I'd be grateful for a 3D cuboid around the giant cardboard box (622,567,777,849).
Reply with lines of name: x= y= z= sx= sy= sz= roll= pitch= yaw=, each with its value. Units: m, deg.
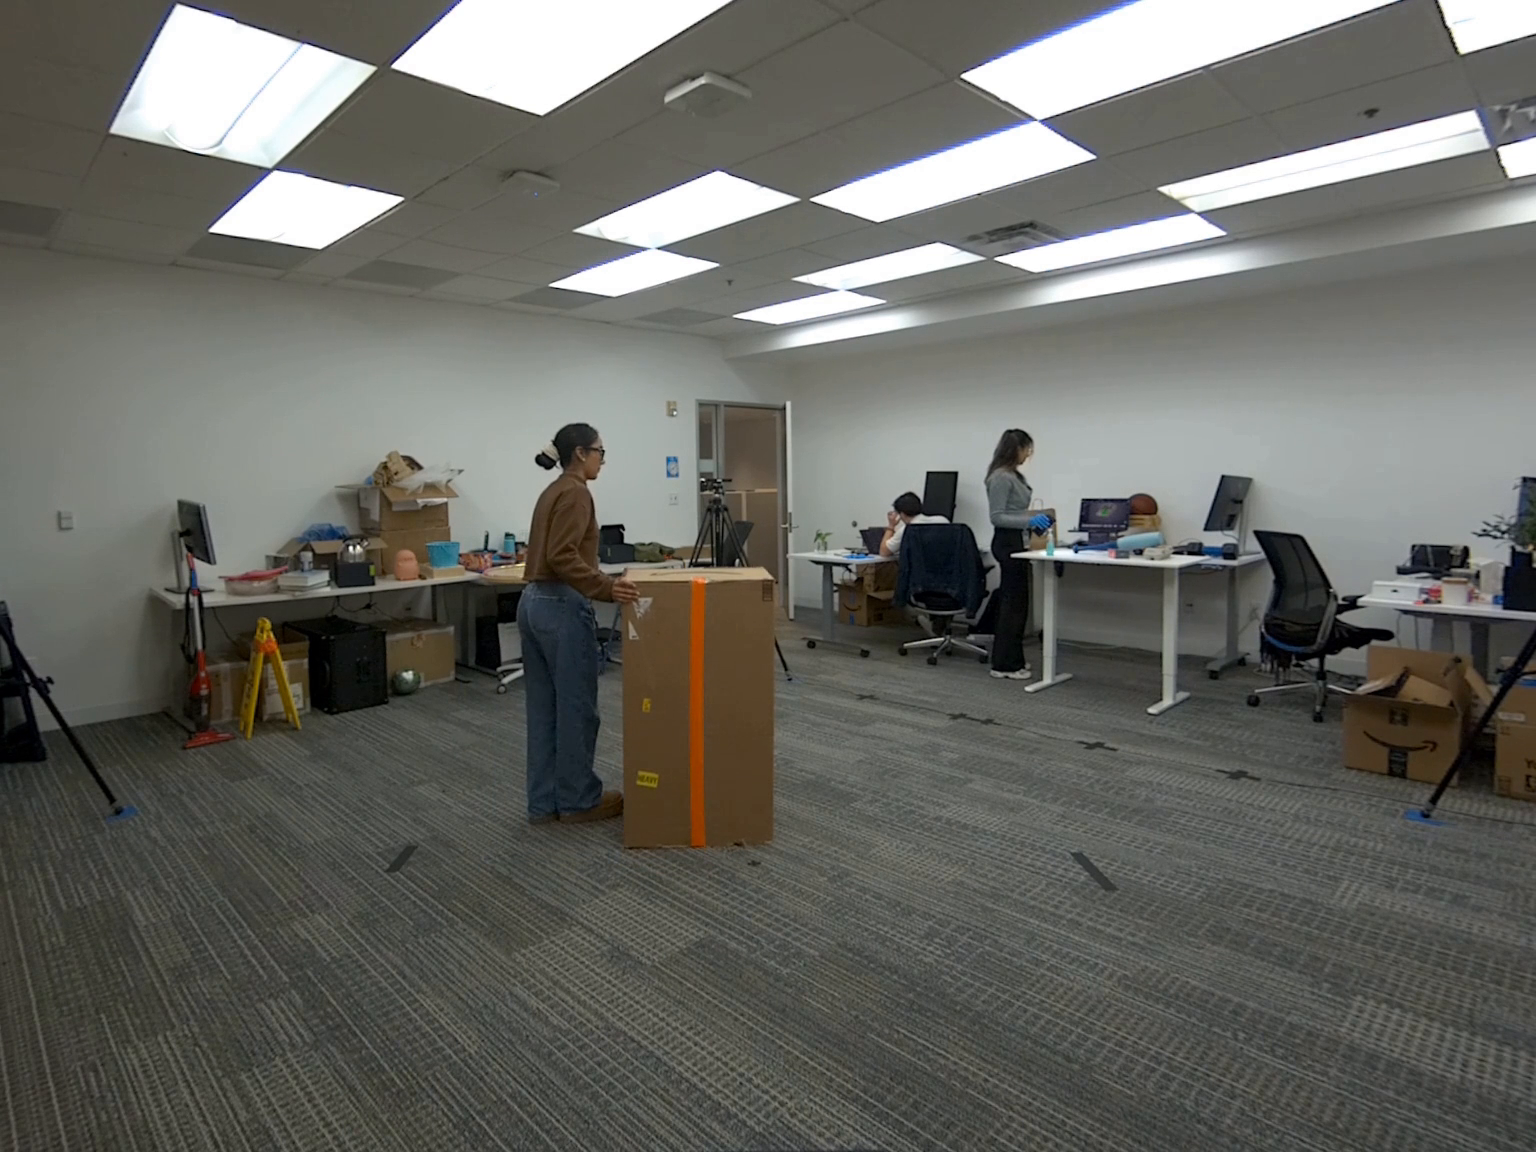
giant cardboard box: x=-0.278 y=0.500 z=3.425 sx=0.576 sy=1.022 sz=0.429 roll=0 pitch=4 yaw=-3
